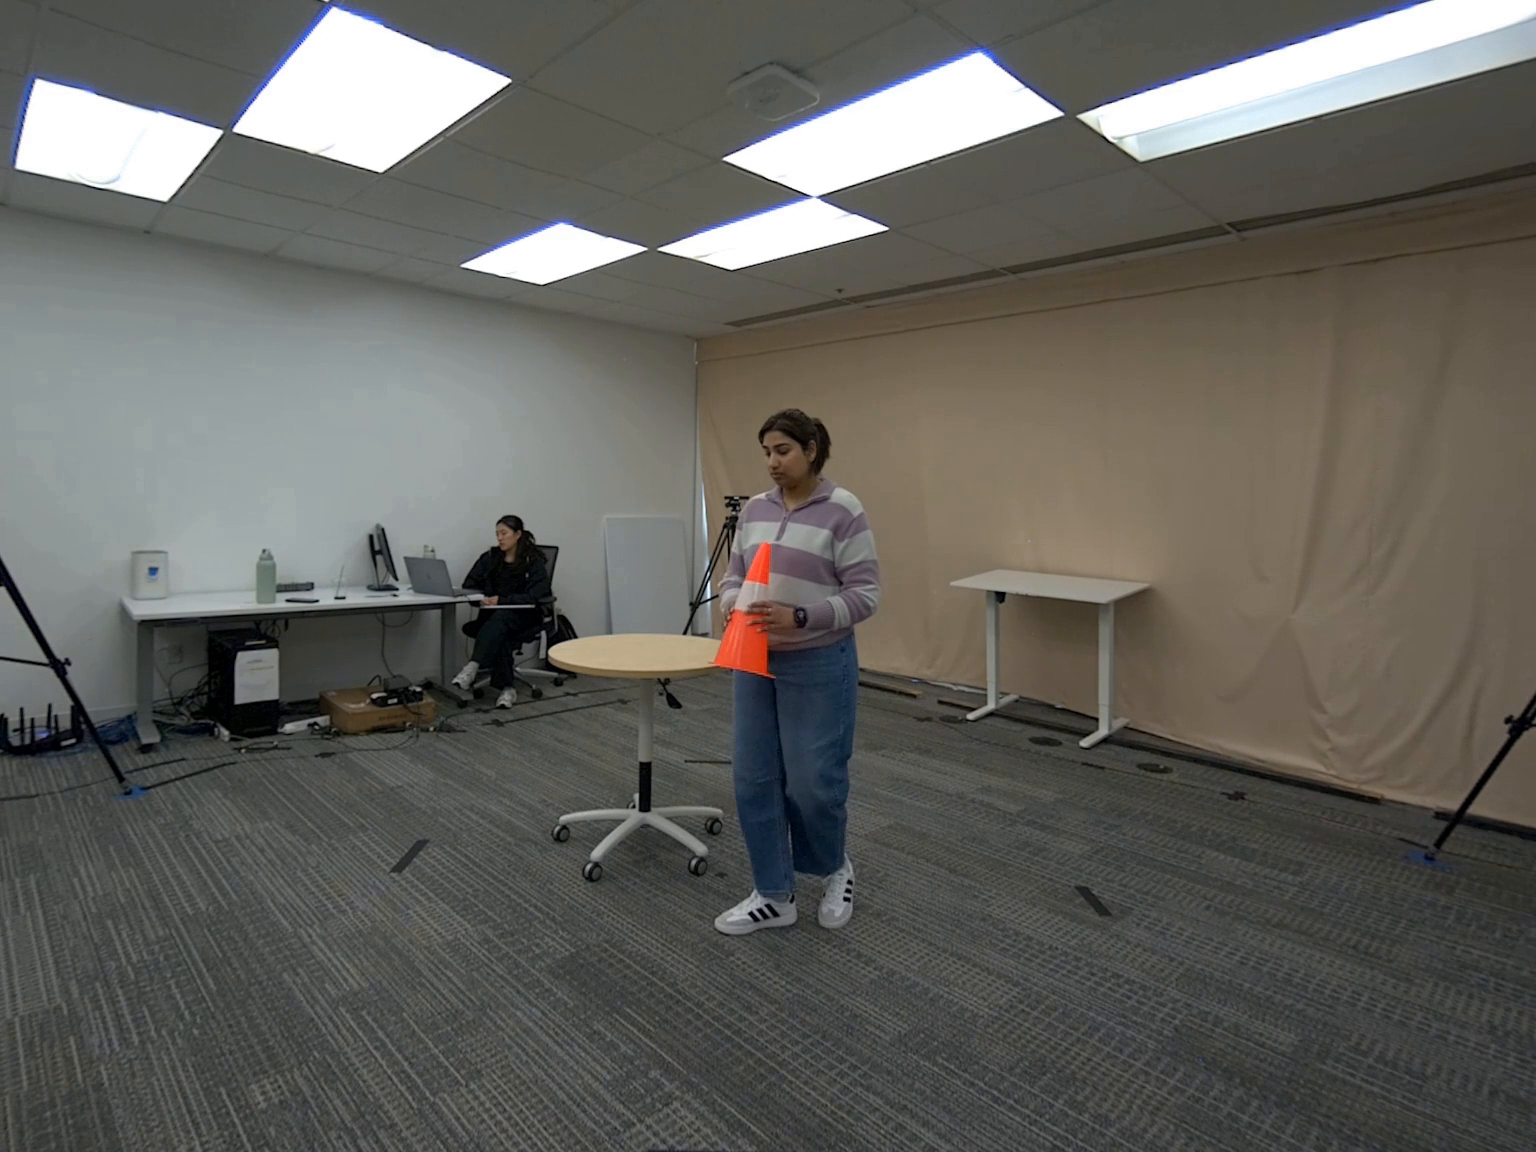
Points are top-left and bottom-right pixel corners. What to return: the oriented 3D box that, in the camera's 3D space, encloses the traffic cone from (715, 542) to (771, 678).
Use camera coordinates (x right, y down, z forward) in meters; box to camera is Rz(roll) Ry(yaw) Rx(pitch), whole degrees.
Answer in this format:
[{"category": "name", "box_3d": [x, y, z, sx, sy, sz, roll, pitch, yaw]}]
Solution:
[{"category": "traffic cone", "box_3d": [-0.053, 0.097, 2.484, 0.202, 0.385, 0.205, 11, -8, -5]}]
